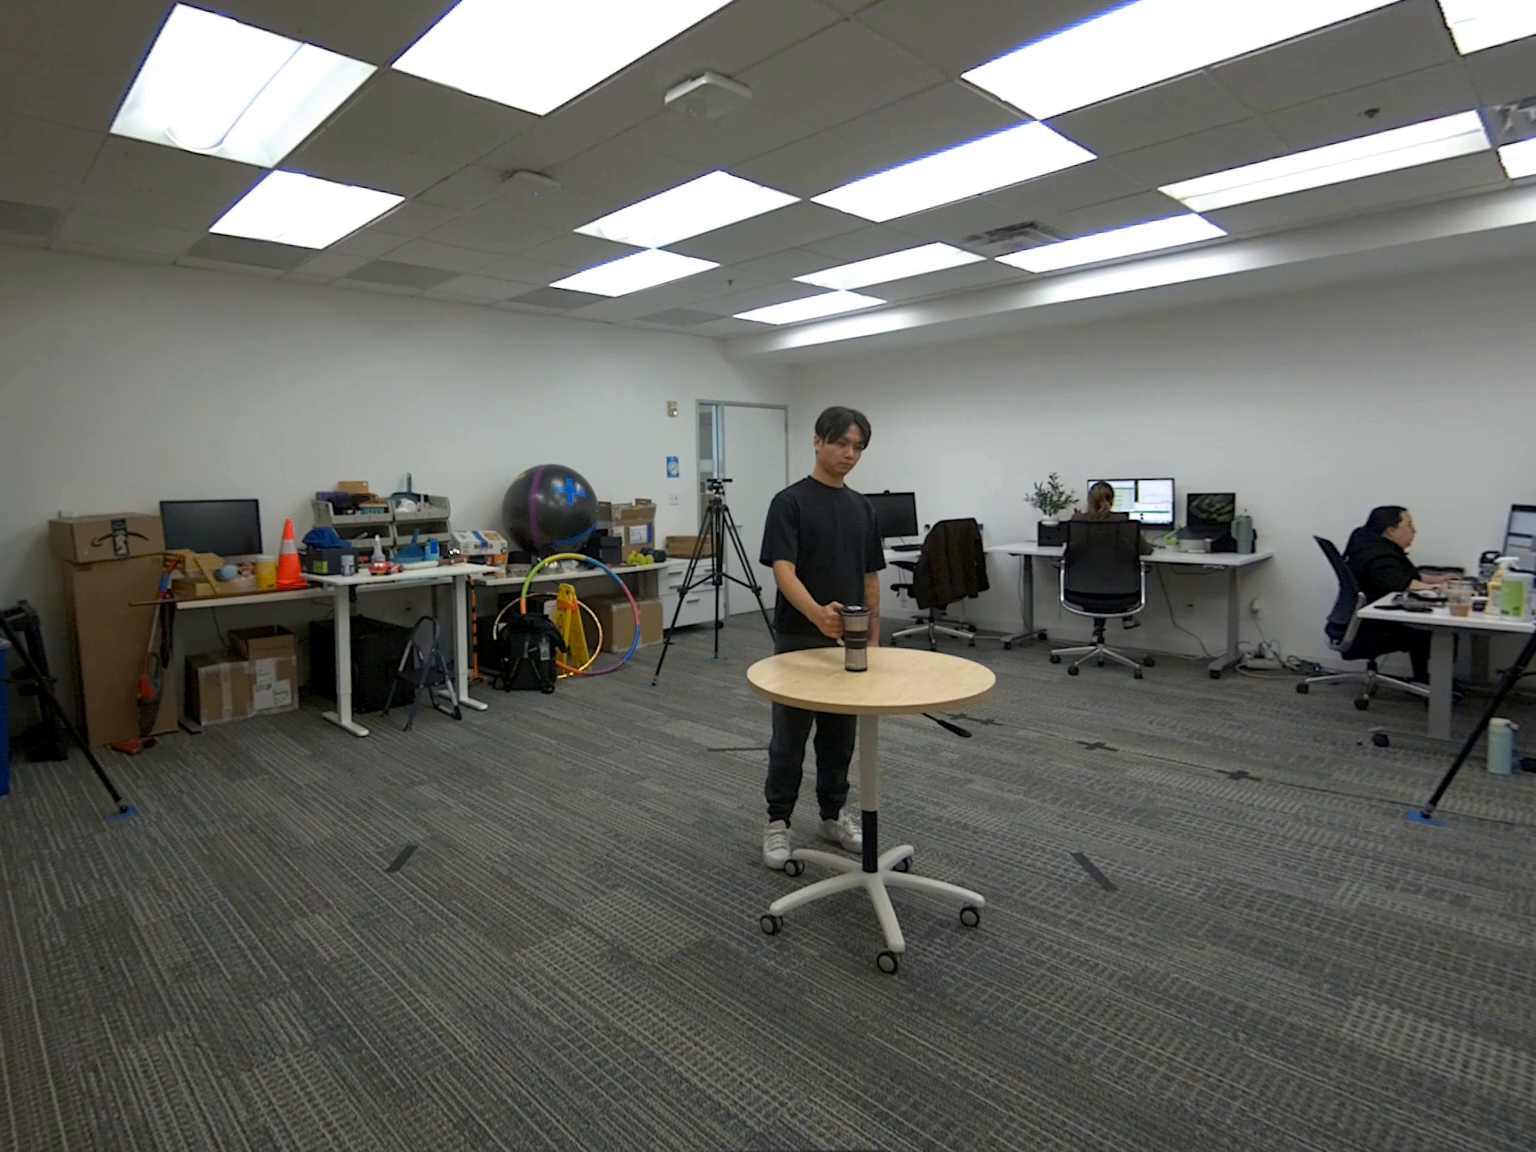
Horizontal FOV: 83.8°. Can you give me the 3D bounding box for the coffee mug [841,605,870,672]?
[{"bbox_3d":[0.270,0.201,2.734,0.086,0.201,0.126,-9,10,-32],"label":"coffee mug"}]
